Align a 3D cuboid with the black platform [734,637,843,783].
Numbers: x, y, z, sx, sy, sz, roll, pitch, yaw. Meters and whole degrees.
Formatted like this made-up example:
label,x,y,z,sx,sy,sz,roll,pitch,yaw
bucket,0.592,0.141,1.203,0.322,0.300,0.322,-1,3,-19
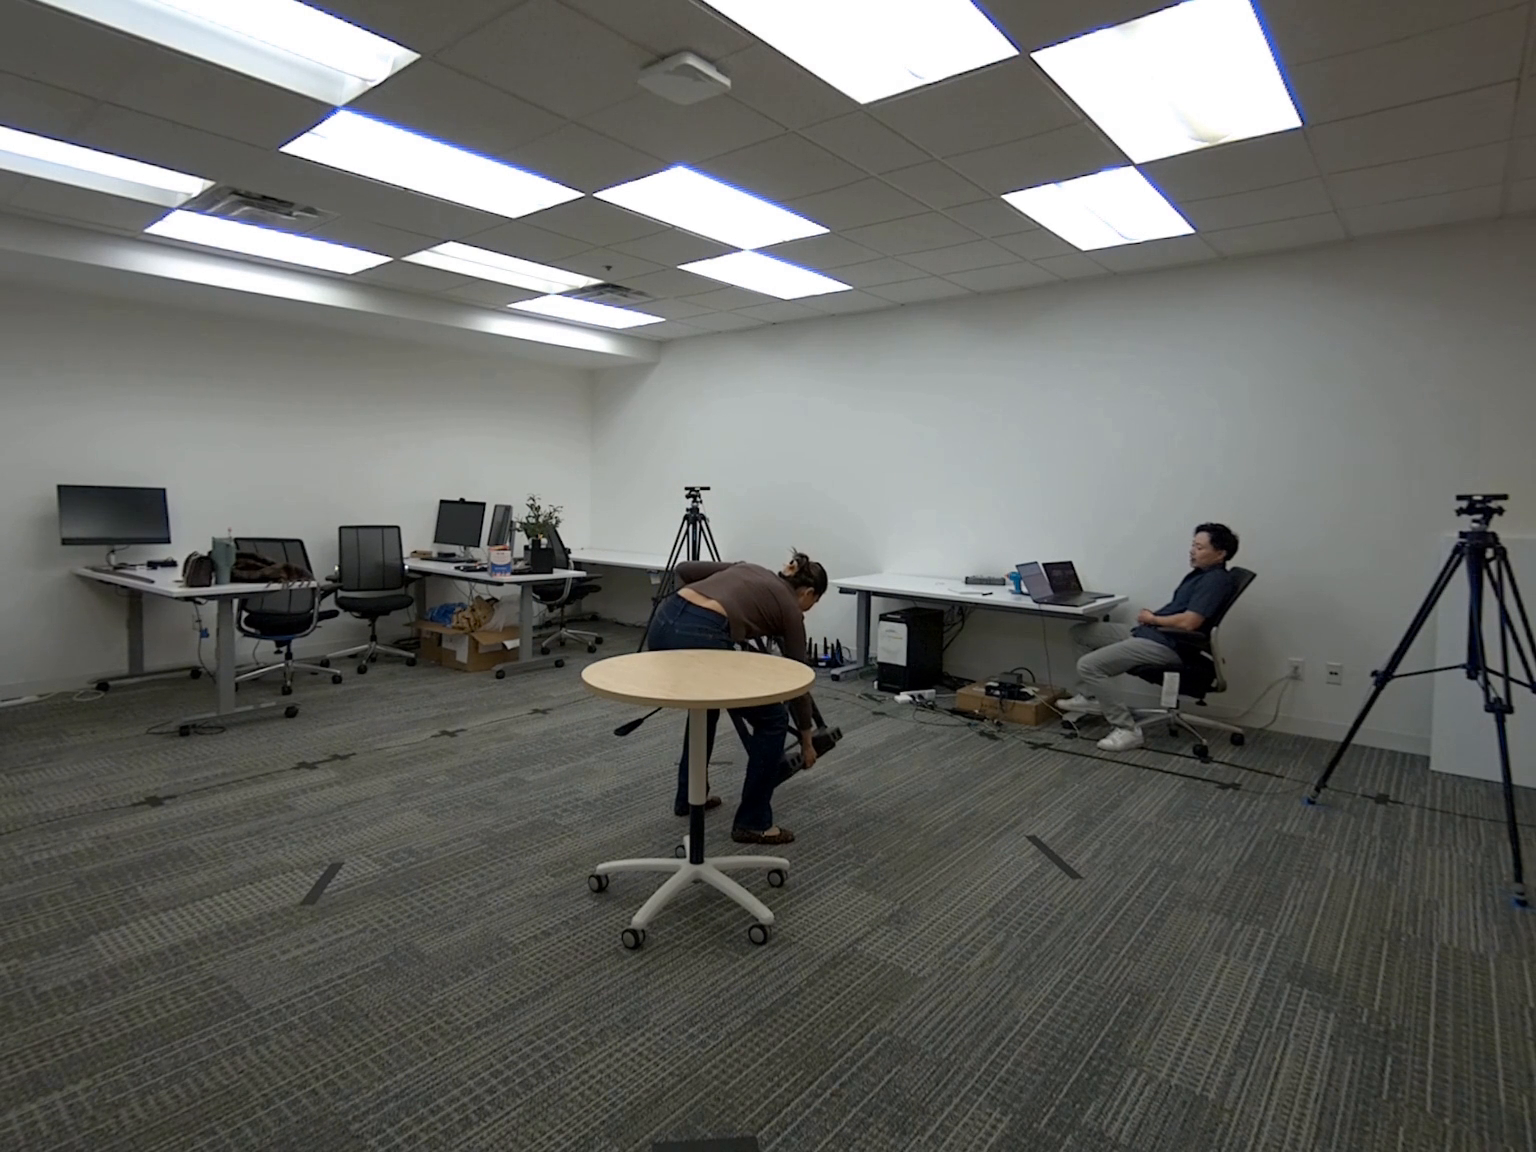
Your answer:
label,x,y,z,sx,sy,sz,roll,pitch,yaw
black platform,0.012,0.465,3.815,0.145,0.817,0.591,-34,-11,31
